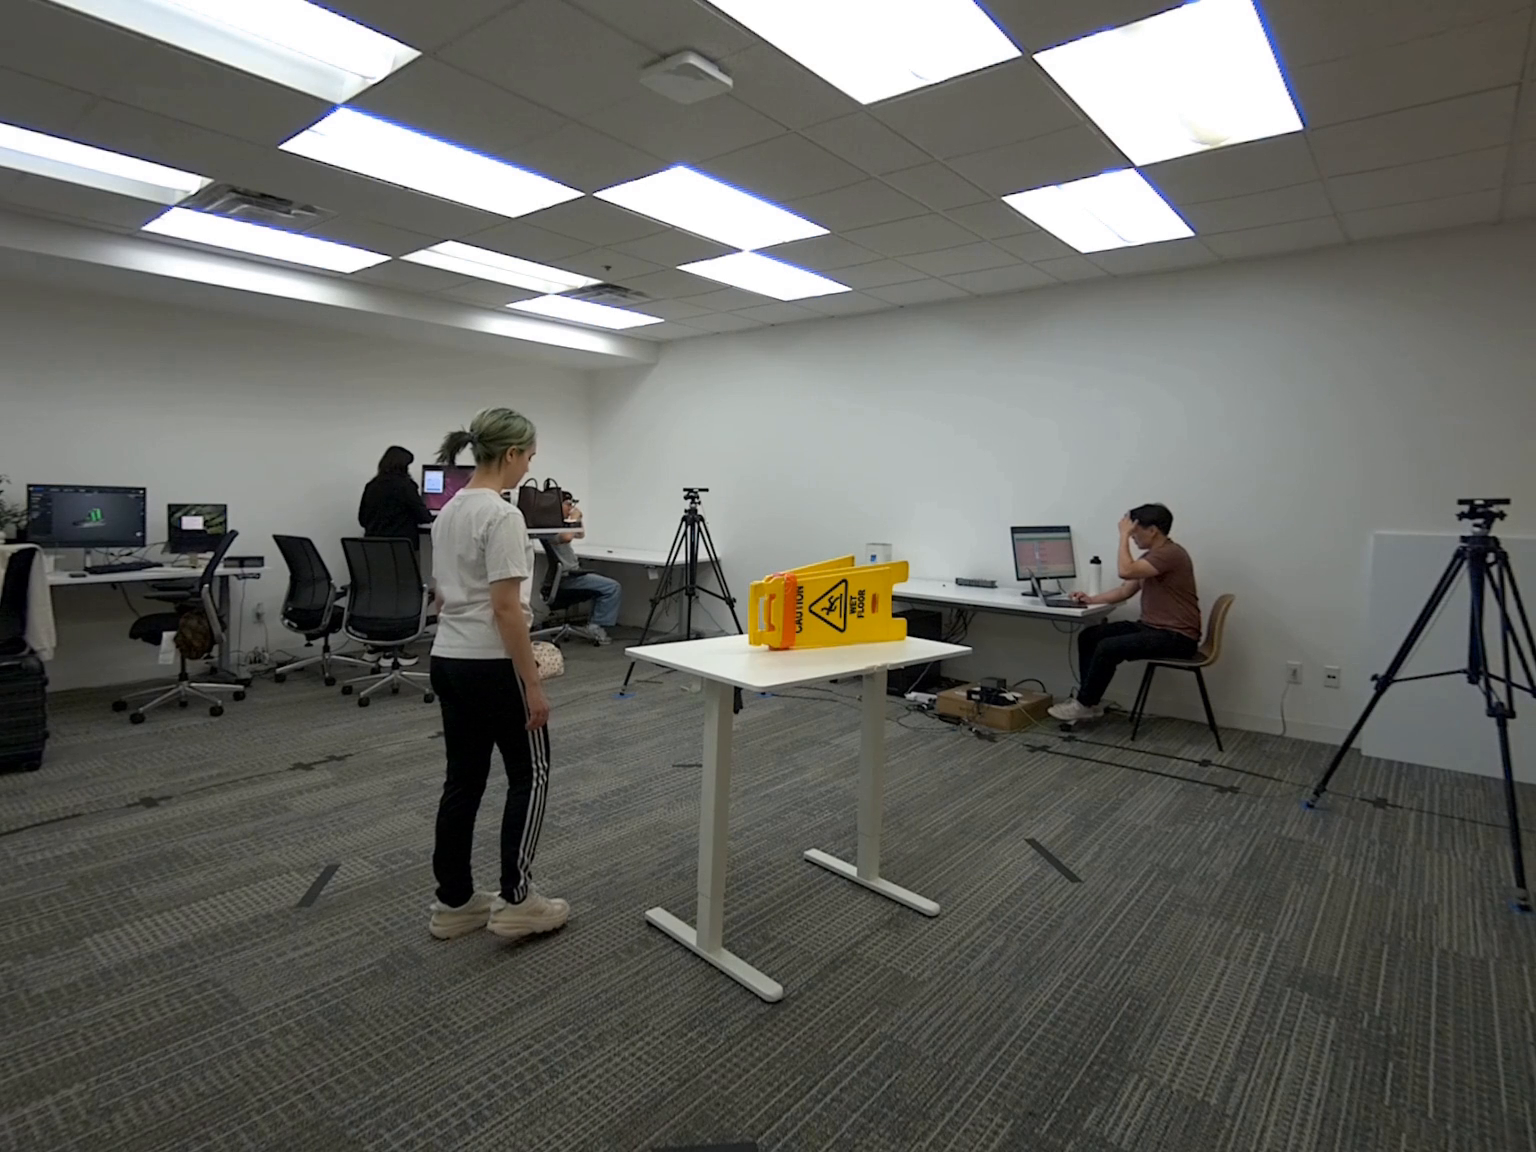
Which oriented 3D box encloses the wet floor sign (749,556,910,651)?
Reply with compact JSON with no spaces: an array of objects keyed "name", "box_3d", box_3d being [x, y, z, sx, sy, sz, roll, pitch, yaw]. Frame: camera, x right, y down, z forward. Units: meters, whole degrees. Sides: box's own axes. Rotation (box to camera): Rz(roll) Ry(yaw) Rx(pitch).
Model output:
[{"name":"wet floor sign","box_3d":[0.166,0.098,2.828,0.627,0.281,0.300,-6,8,-44]}]
